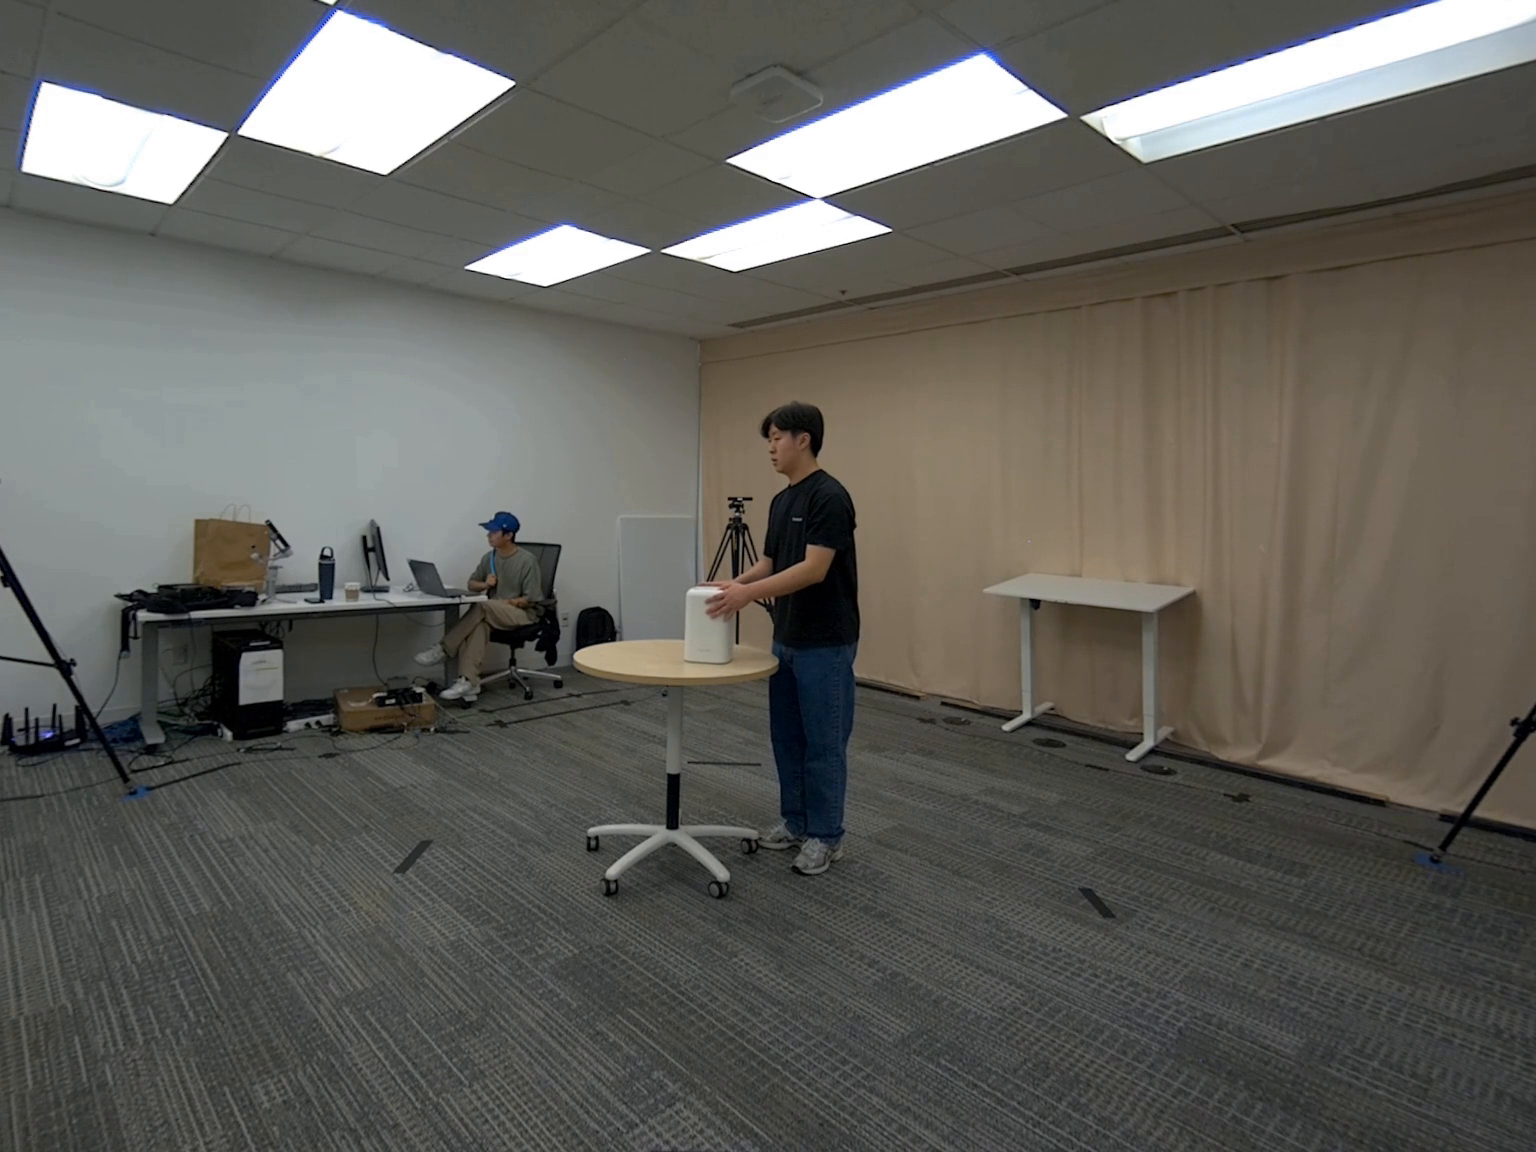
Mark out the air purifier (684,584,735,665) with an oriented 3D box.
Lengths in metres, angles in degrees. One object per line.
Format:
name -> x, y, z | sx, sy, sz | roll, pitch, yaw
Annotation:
air purifier -> -0.215, 0.178, 3.107 | 0.173, 0.265, 0.170 | 4, 4, 10
